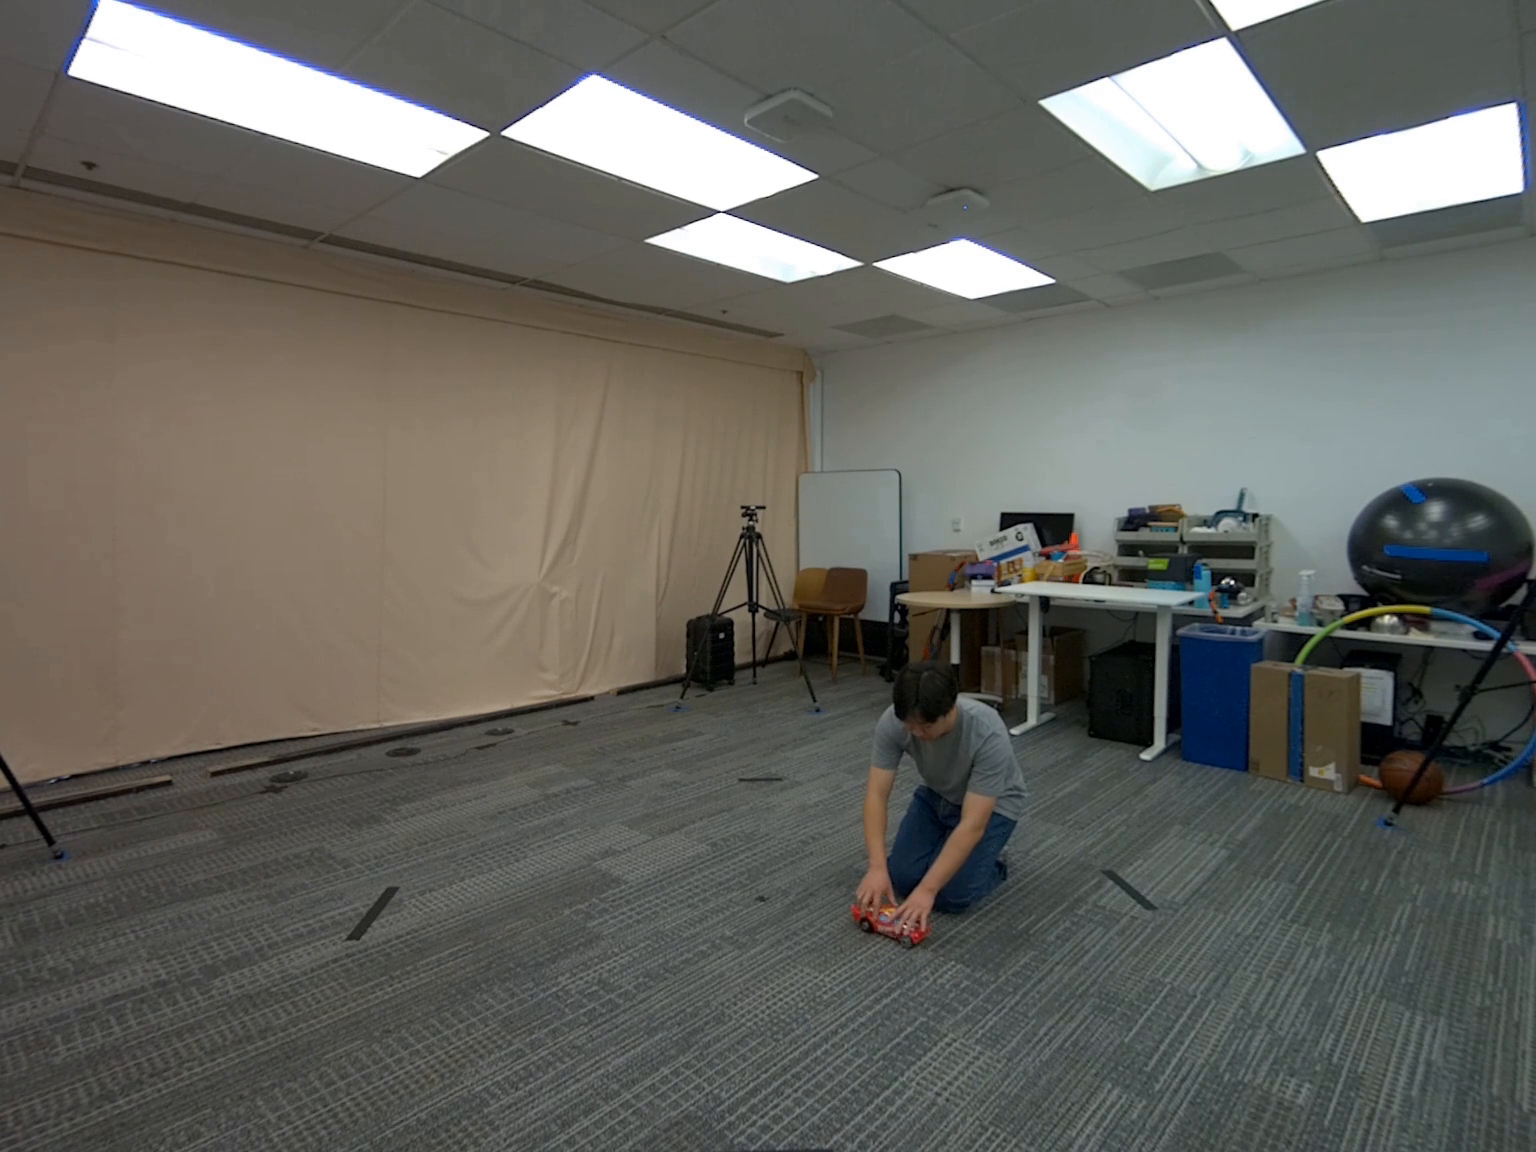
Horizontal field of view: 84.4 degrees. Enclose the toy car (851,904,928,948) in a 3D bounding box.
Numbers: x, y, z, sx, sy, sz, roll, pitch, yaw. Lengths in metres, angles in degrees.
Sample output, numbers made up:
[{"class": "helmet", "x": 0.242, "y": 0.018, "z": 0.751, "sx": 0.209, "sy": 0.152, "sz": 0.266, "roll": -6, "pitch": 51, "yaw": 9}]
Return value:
[{"class": "toy car", "x": 0.399, "y": 1.132, "z": 2.748, "sx": 0.264, "sy": 0.083, "sz": 0.126, "roll": 19, "pitch": 16, "yaw": 40}]
